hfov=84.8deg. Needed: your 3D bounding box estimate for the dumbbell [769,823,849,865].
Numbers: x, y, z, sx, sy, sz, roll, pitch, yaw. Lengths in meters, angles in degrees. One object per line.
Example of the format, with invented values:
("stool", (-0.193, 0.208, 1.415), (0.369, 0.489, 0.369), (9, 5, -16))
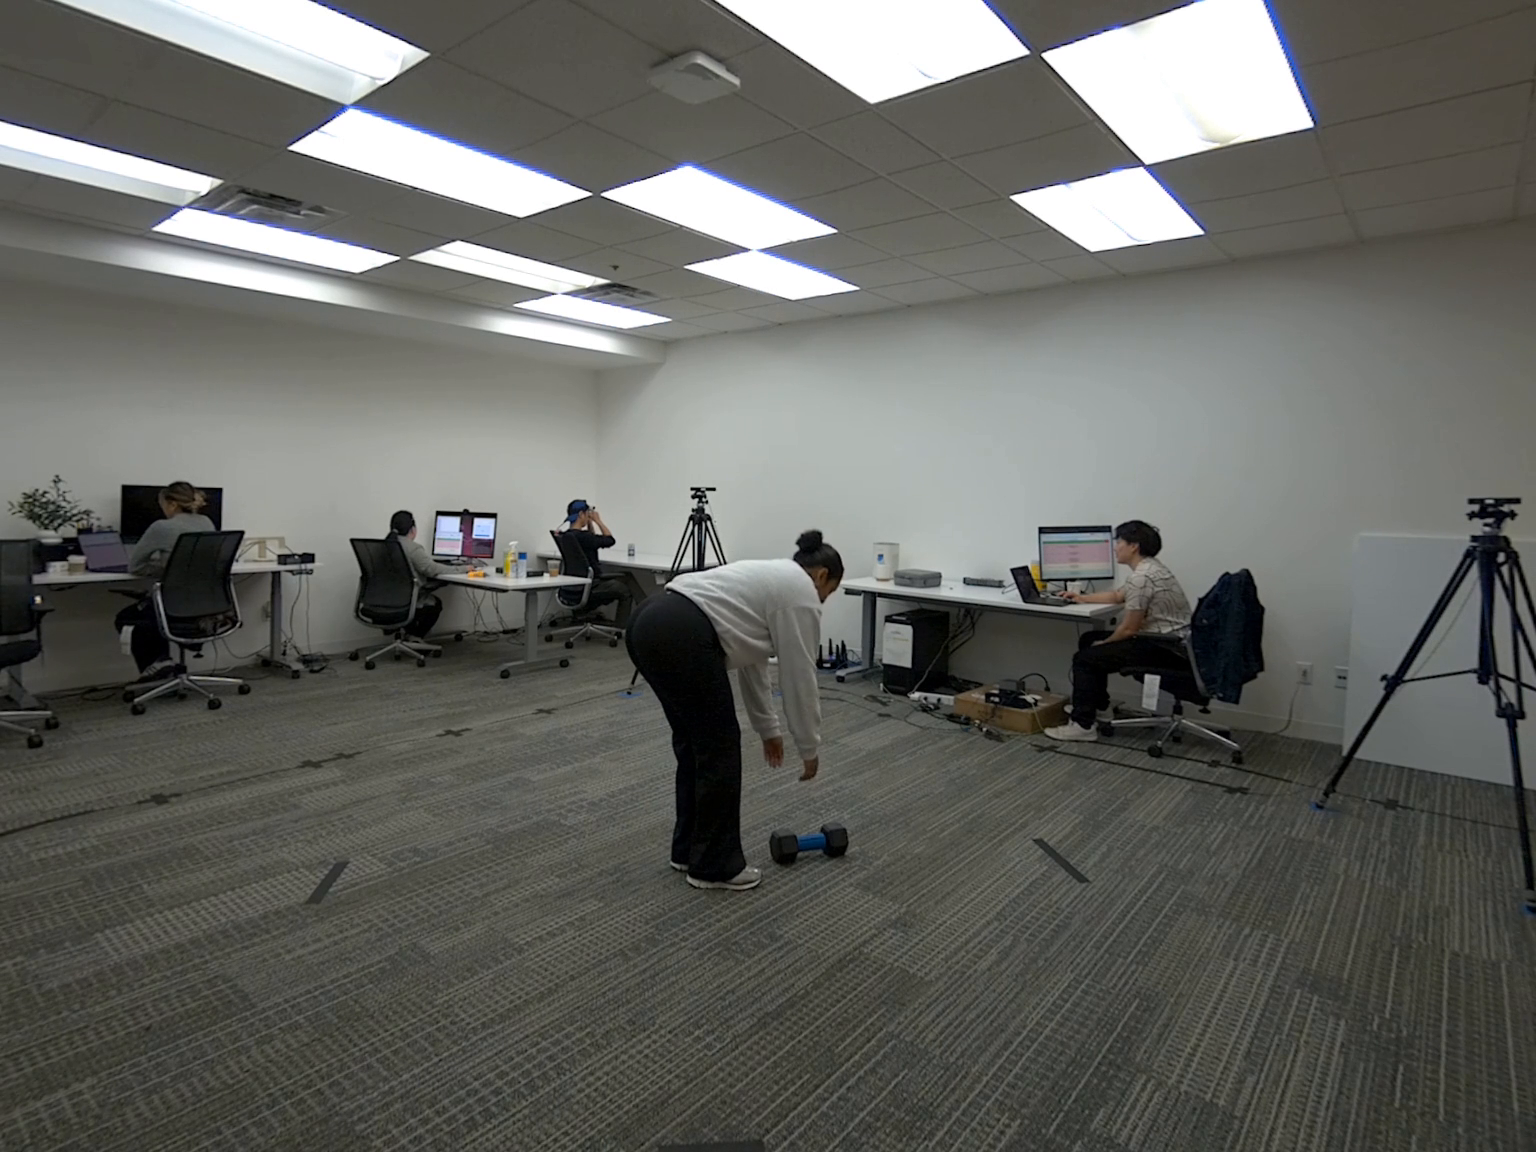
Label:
("dumbbell", (0.149, 1.016, 3.226), (0.288, 0.120, 0.113), (-1, 32, -19))
